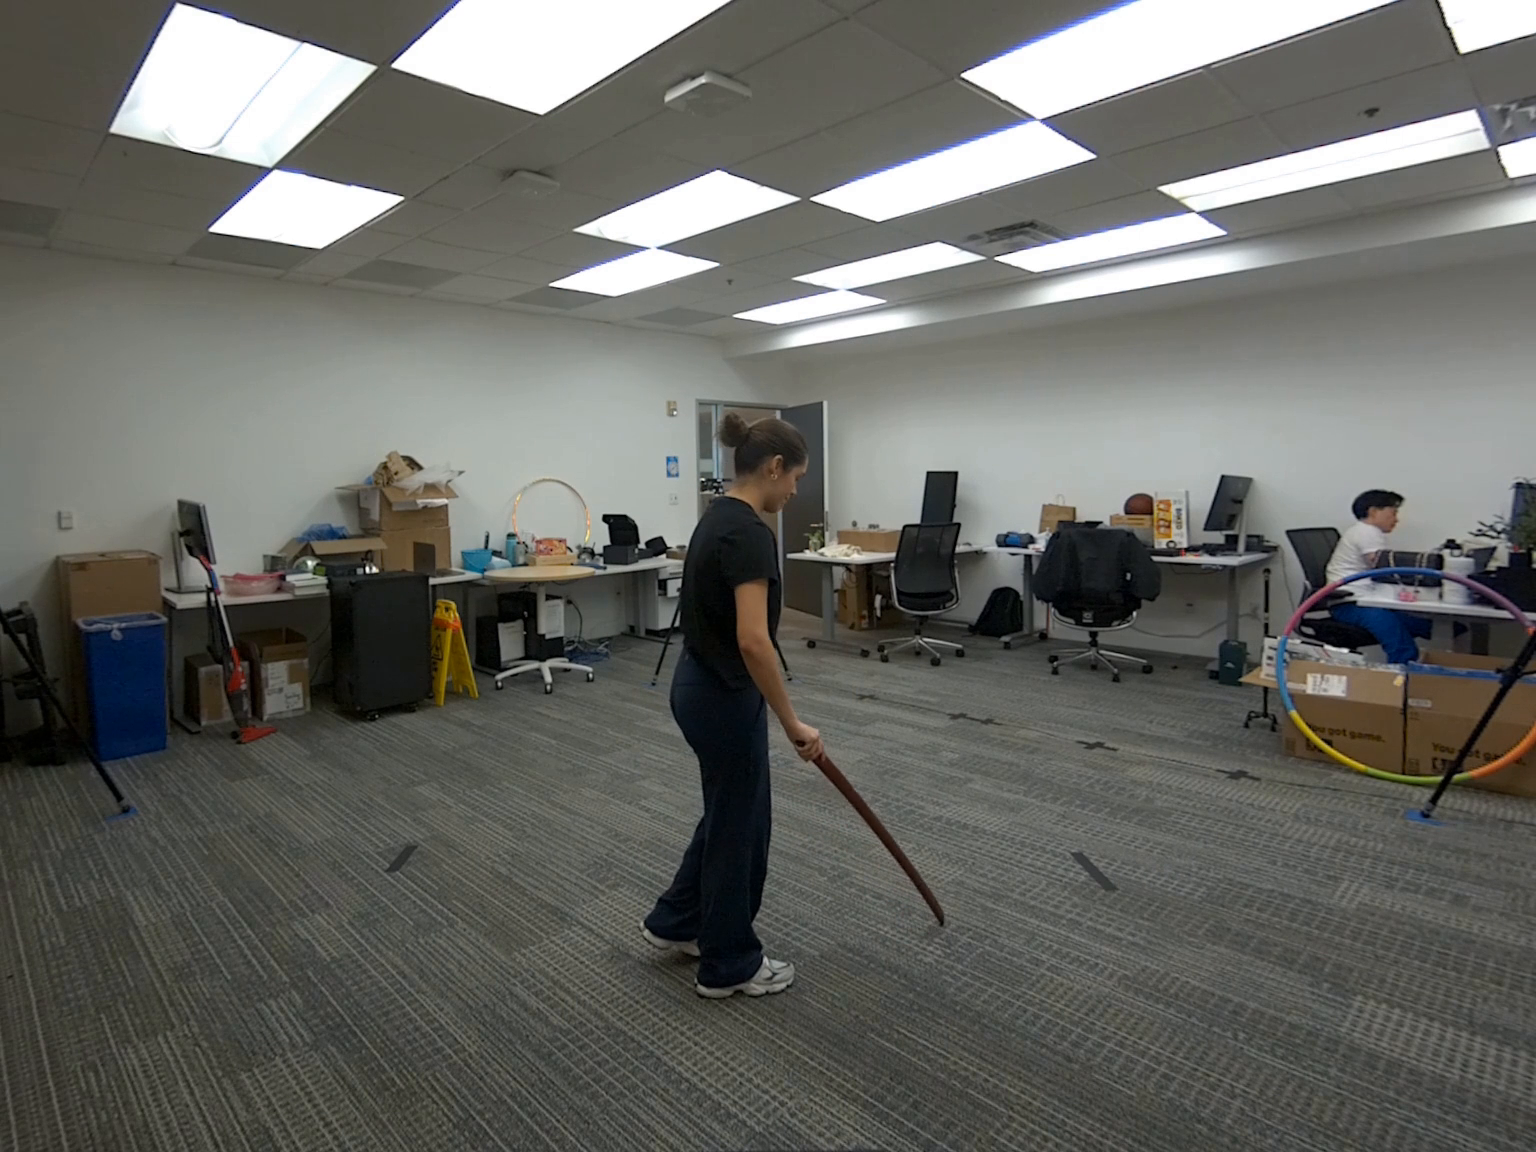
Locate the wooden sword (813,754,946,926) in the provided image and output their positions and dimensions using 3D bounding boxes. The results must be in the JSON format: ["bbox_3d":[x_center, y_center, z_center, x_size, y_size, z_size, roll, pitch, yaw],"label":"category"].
[{"bbox_3d":[0.316,0.724,2.409,0.051,0.989,0.025,-36,33,-2],"label":"wooden sword"}]
